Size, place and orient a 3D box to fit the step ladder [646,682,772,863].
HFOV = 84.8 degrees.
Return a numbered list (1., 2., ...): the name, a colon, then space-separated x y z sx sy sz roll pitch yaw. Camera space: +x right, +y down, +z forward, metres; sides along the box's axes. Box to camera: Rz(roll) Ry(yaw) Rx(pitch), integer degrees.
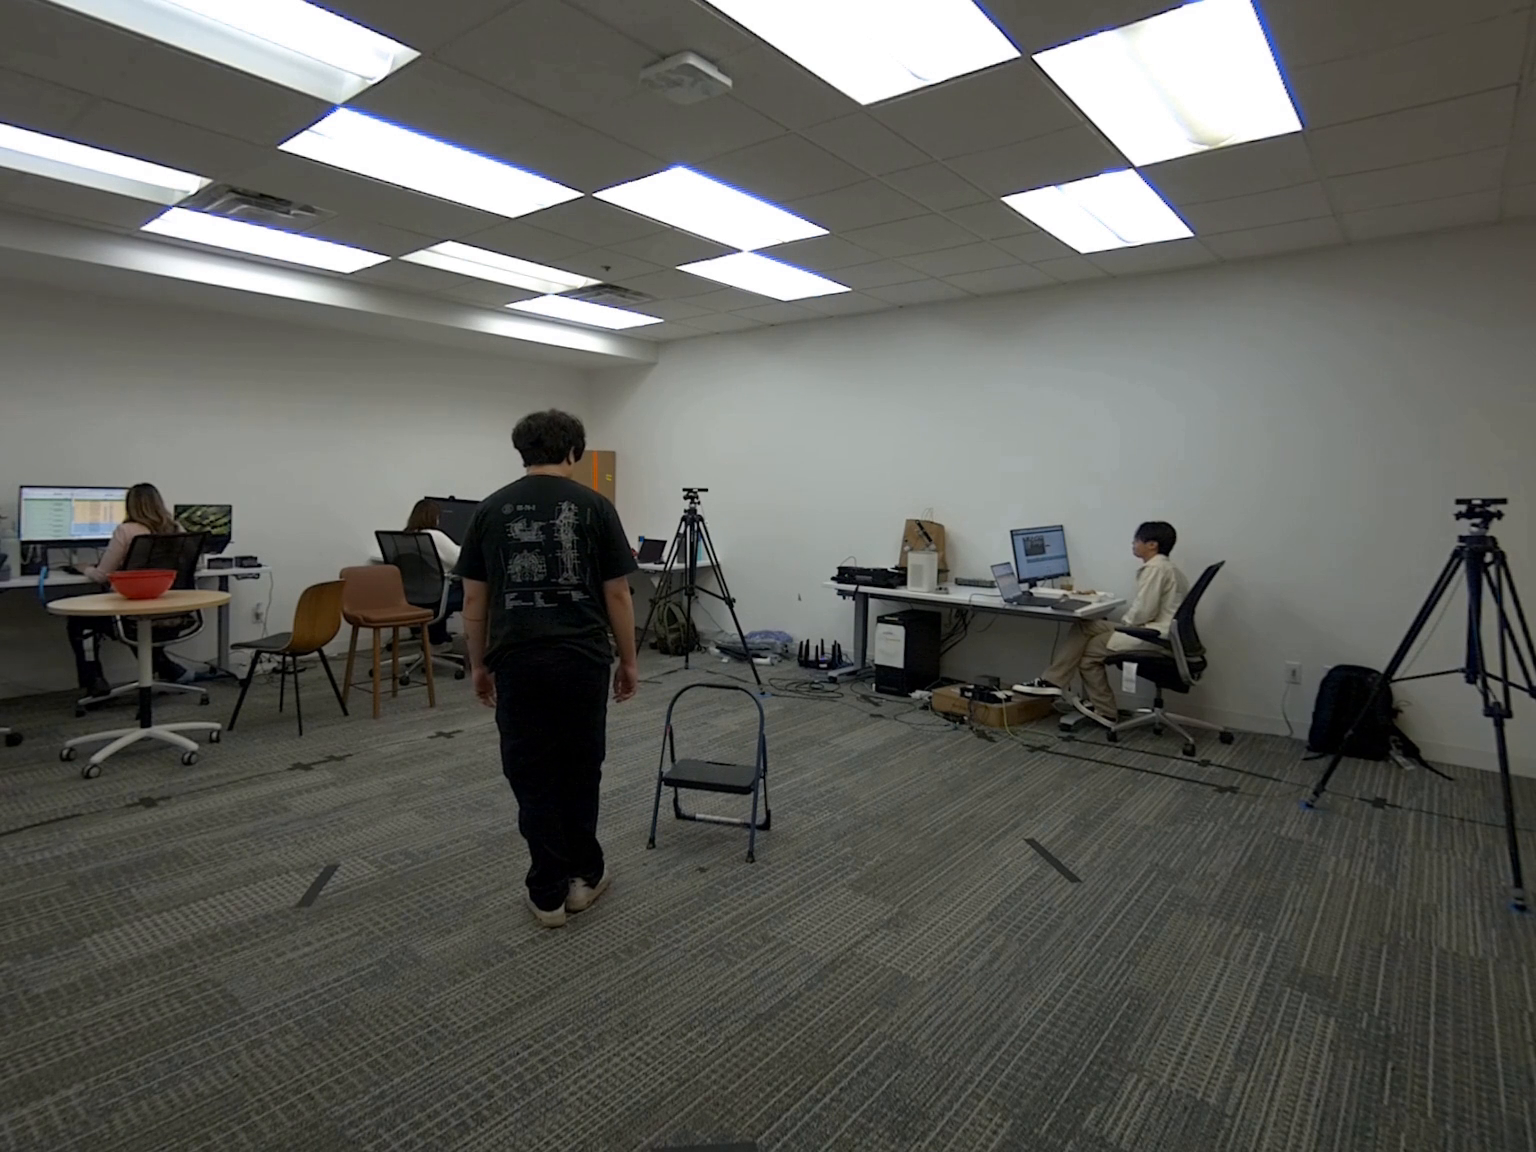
1. step ladder: -0.229 0.740 3.376 0.438 0.604 0.345 2 4 14
